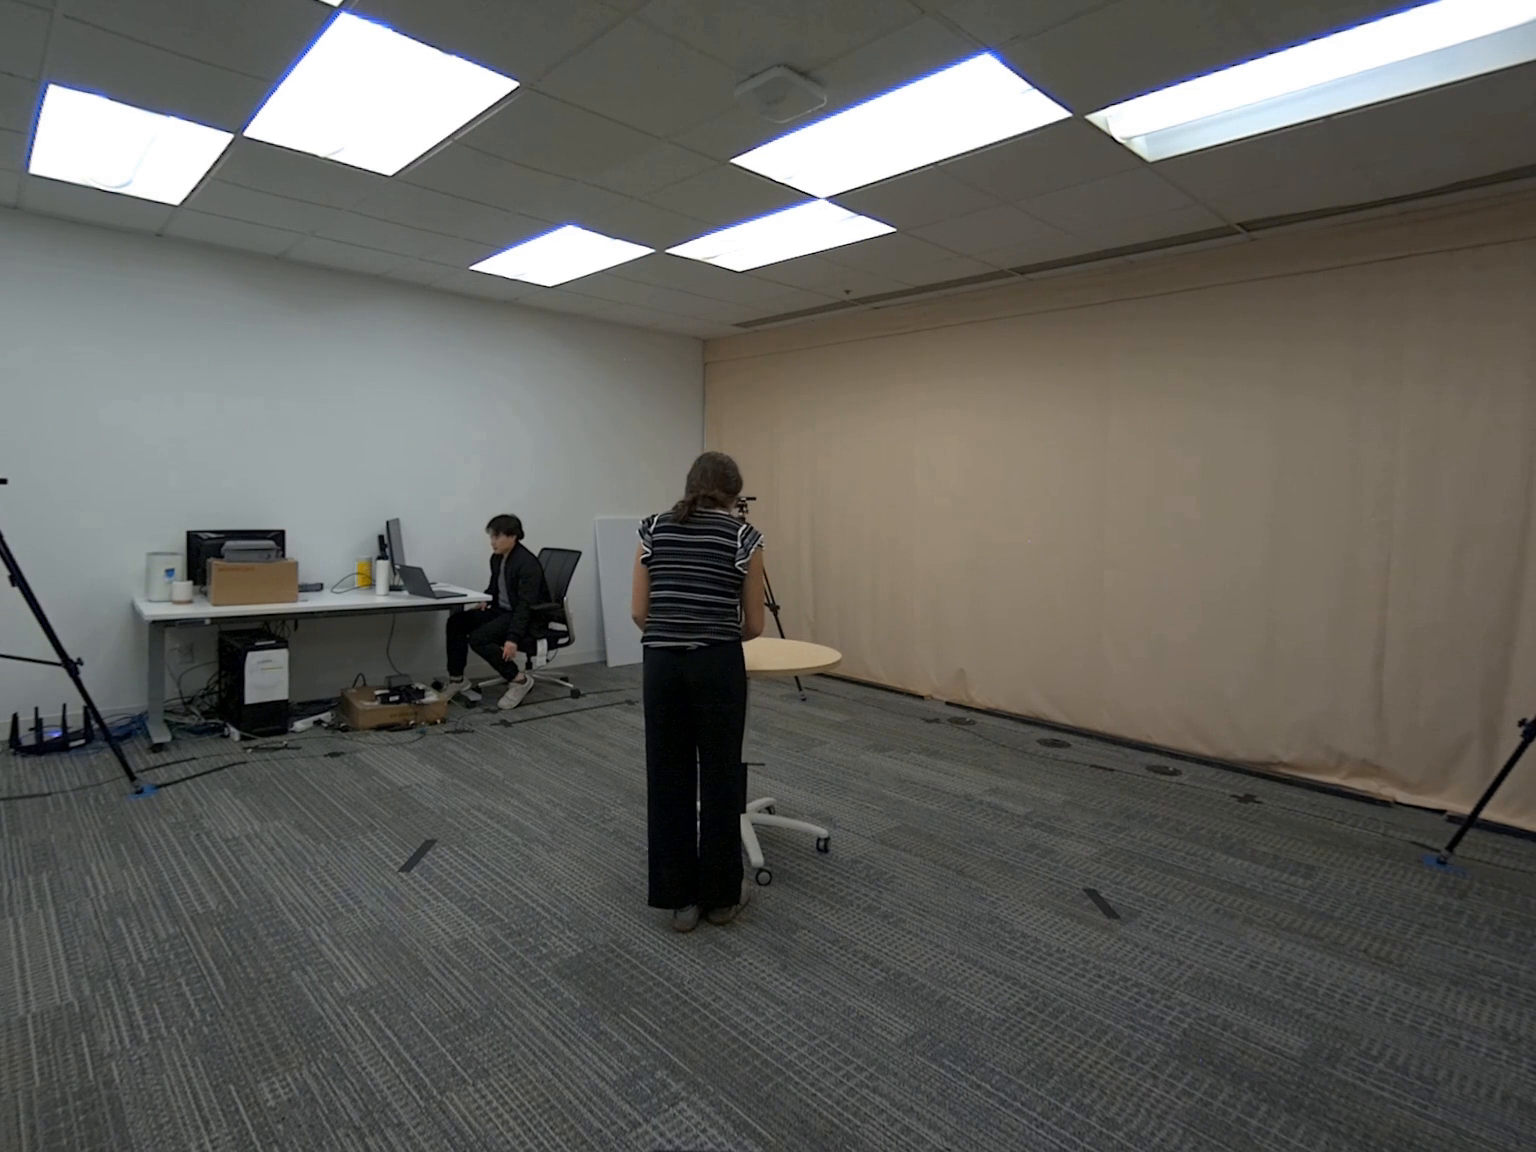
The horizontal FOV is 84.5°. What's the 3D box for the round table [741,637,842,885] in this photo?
[{"bbox_3d":[-0.096,0.693,3.352,0.784,0.784,0.787,1,4,-1],"label":"round table"}]
